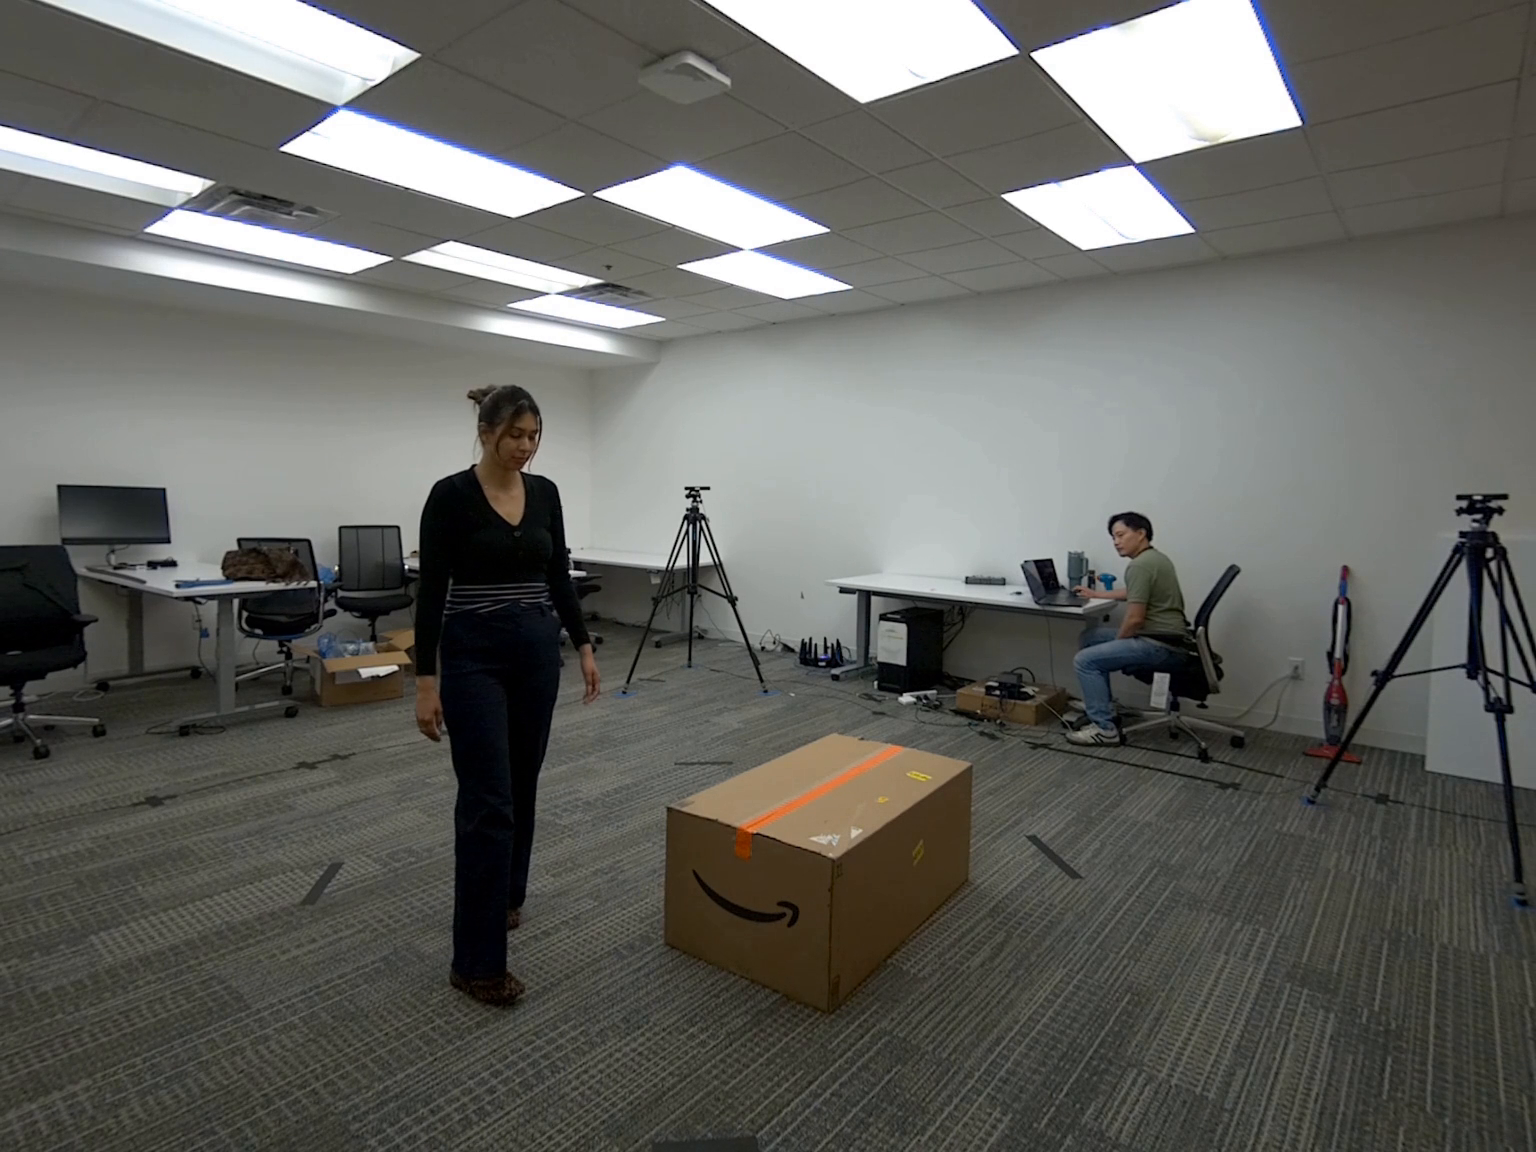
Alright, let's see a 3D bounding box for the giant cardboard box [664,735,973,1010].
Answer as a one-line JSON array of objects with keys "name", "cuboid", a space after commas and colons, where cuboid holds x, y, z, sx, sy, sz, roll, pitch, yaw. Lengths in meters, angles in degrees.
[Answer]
[{"name": "giant cardboard box", "cuboid": [0.203, 0.889, 2.812, 0.596, 0.424, 0.997, 5, 7, 34]}]
